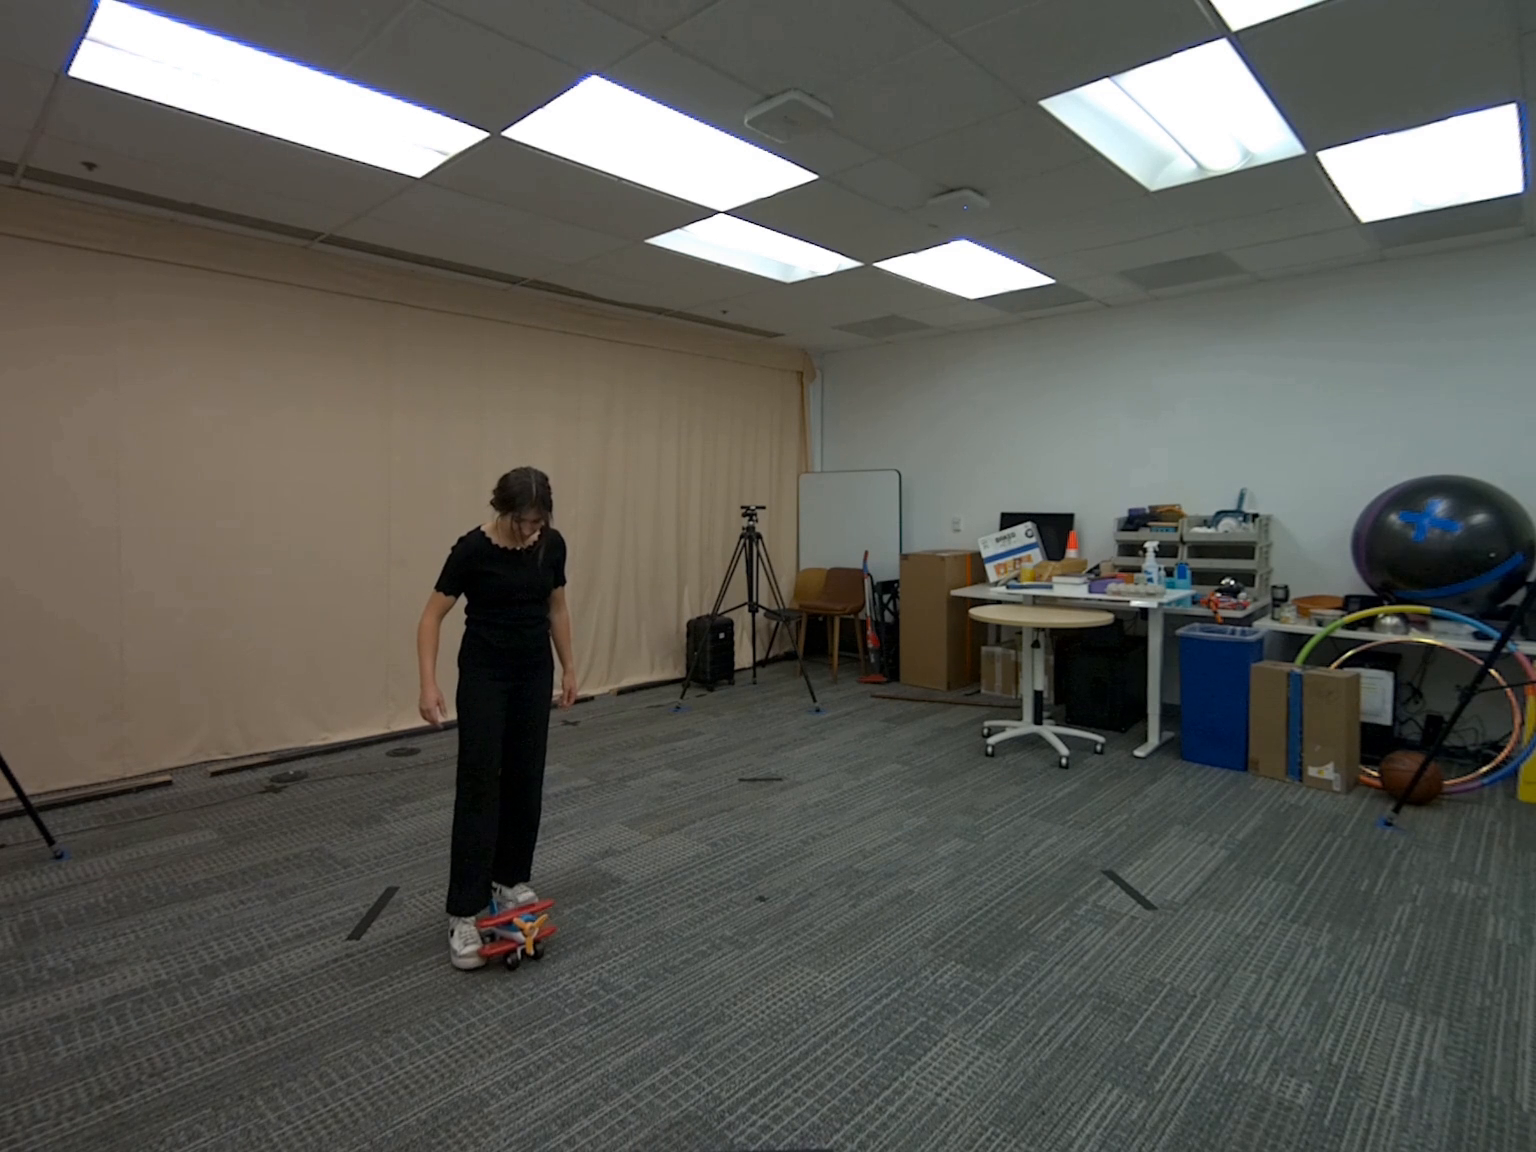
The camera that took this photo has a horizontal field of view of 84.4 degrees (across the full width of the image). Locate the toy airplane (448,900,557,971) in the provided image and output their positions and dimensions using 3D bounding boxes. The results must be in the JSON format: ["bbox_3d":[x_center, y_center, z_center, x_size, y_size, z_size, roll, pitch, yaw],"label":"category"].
[{"bbox_3d":[-0.822,1.104,2.612,0.264,0.156,0.246,4,2,17],"label":"toy airplane"}]
